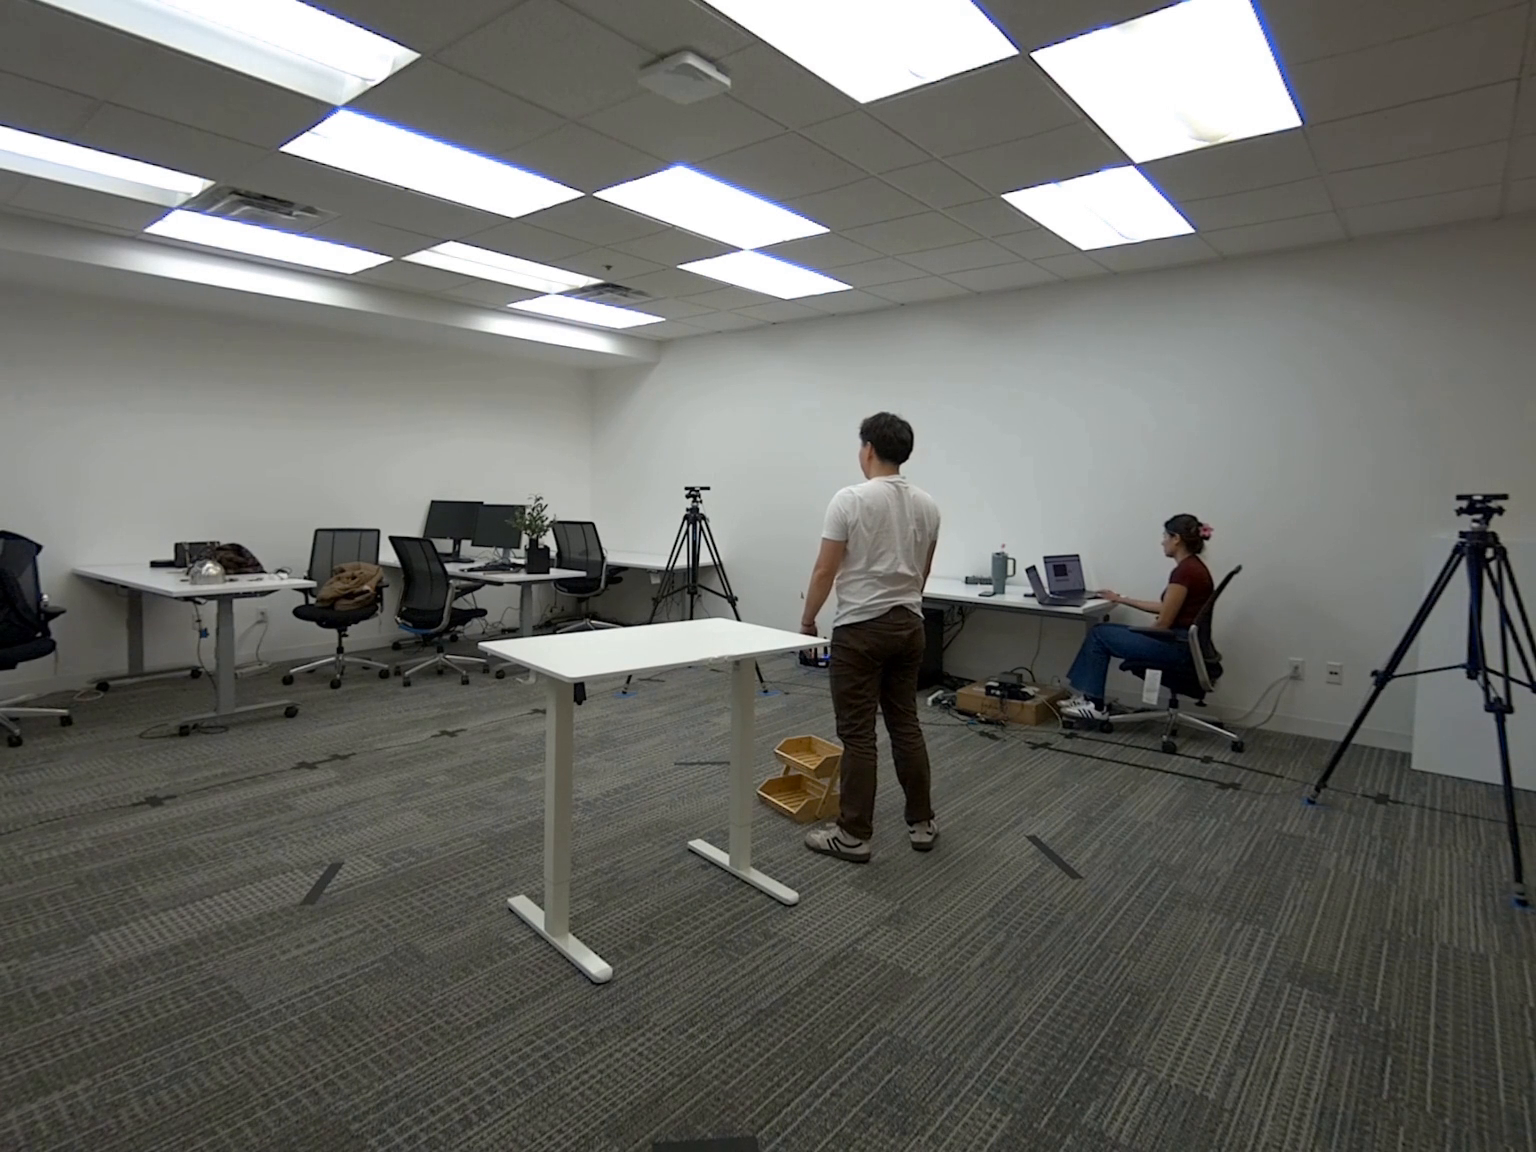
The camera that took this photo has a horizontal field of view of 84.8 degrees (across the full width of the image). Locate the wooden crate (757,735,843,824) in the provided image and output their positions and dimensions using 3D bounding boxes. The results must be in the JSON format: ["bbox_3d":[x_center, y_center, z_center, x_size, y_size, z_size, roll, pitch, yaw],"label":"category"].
[{"bbox_3d":[0.146,0.874,3.735,0.293,0.272,0.335,-1,6,-33],"label":"wooden crate"}]
